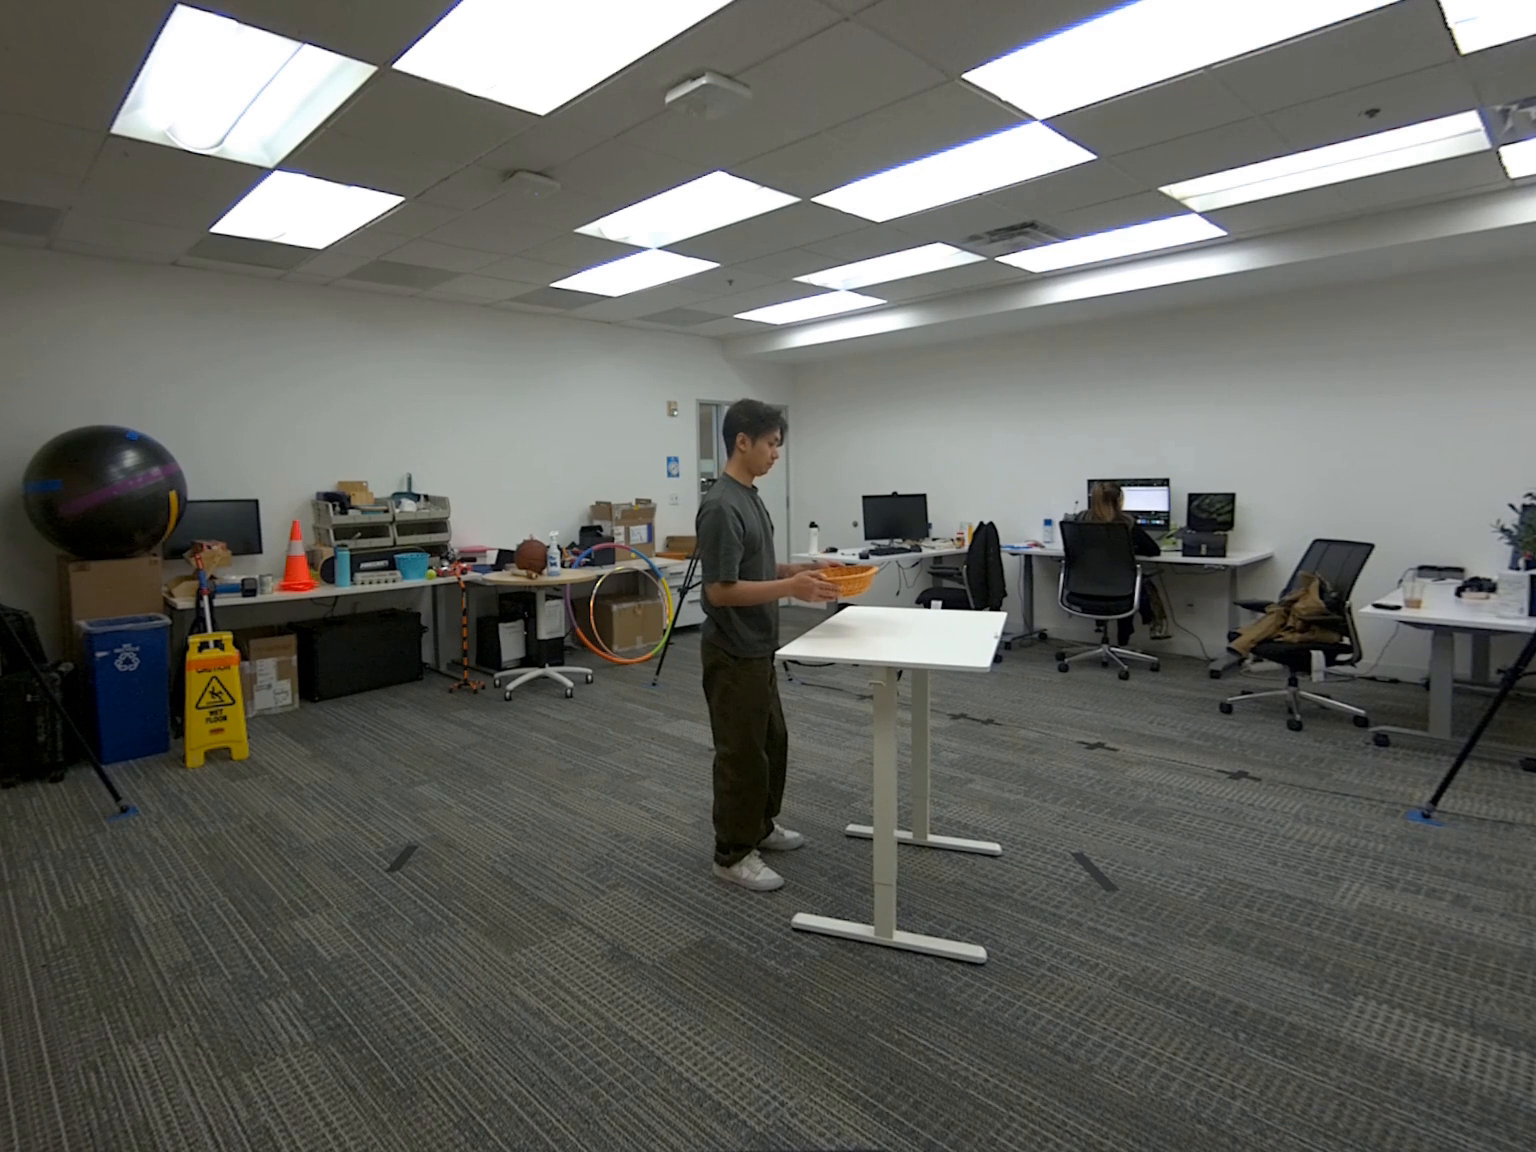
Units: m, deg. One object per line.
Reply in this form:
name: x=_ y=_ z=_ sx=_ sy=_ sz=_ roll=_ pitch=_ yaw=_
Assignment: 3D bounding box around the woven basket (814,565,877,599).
woven basket: x=0.226 y=0.020 z=2.927 sx=0.252 sy=0.073 sz=0.353 roll=-8 pitch=8 yaw=-1
